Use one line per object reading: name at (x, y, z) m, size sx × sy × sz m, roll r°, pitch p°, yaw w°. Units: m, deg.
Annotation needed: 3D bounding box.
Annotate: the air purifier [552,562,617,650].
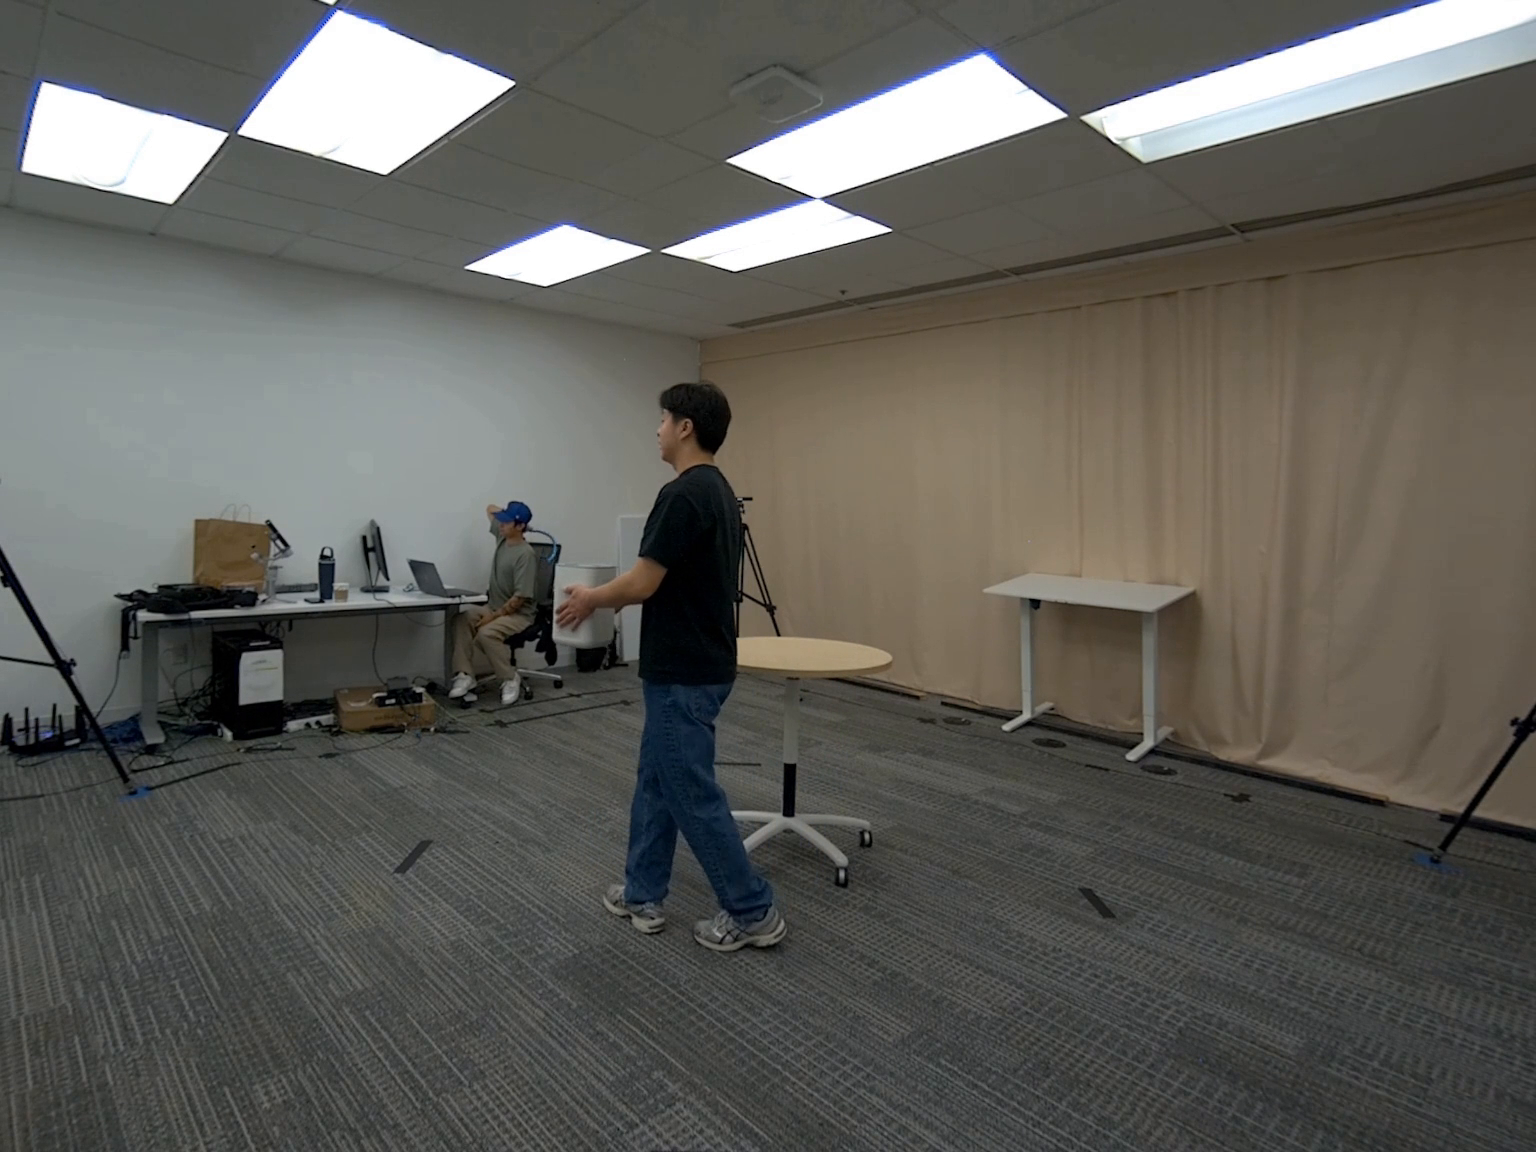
air purifier at (-0.603, 0.095, 2.752) m, size 0.174 × 0.265 × 0.168 m, roll 4°, pitch 1°, yaw 22°
